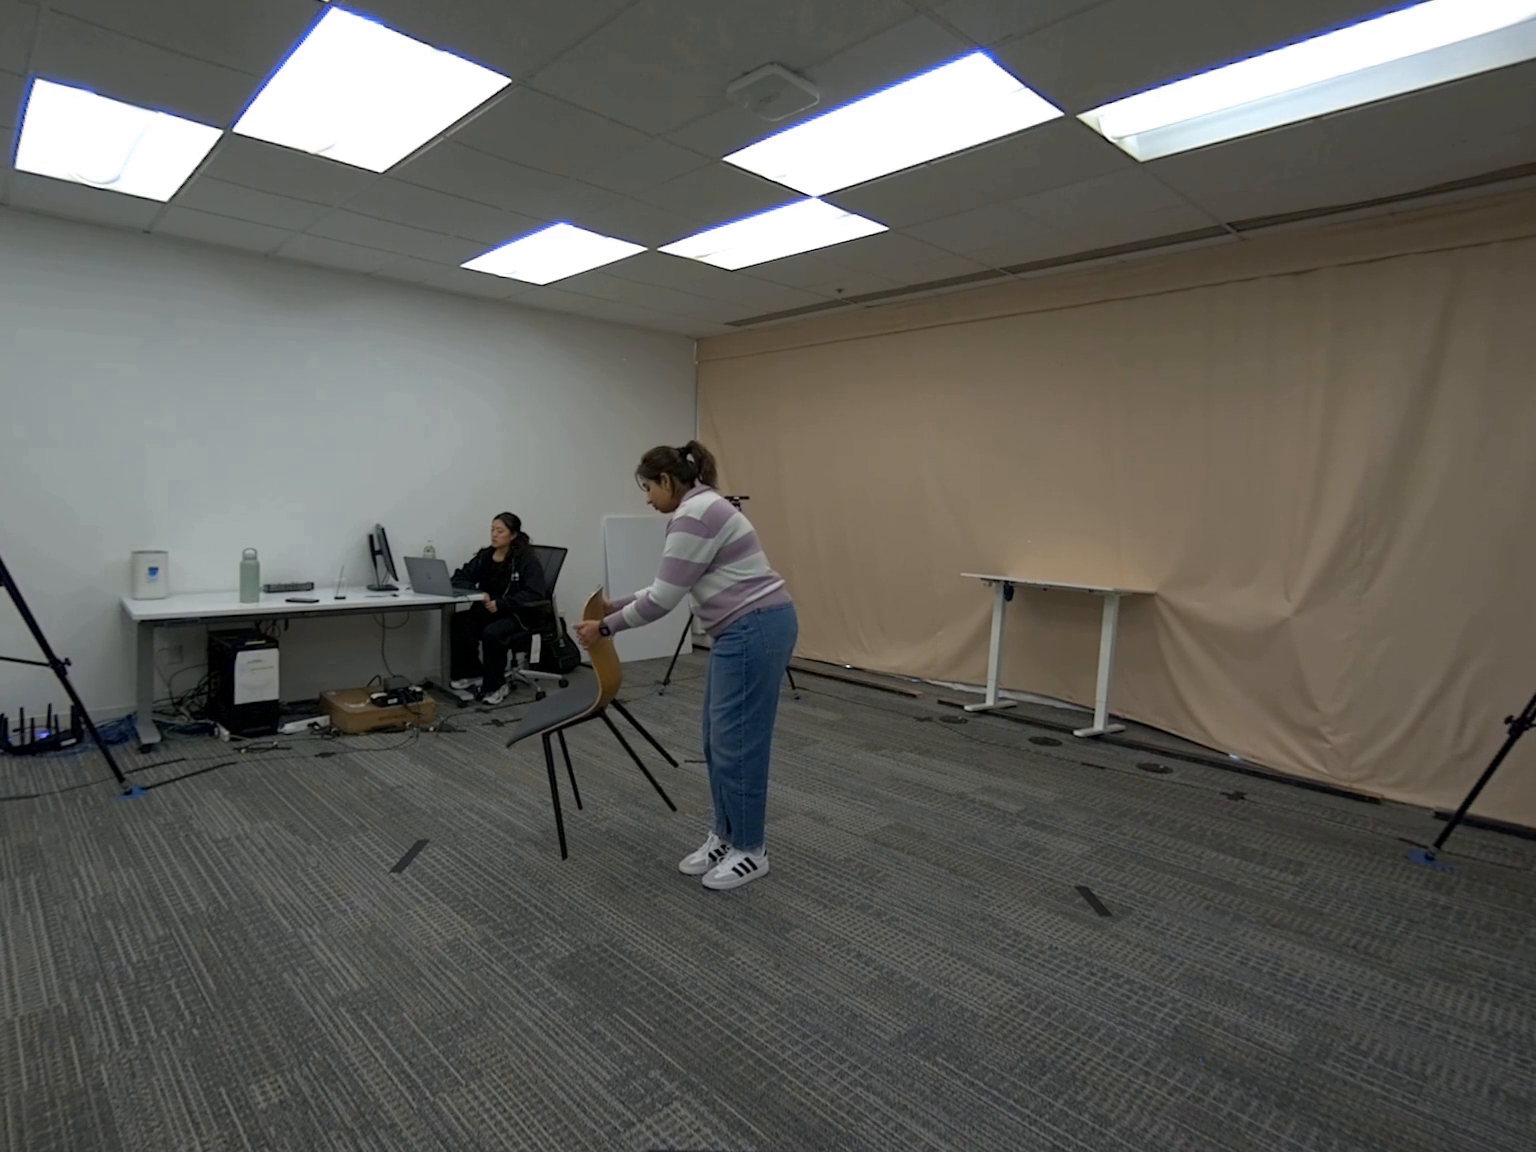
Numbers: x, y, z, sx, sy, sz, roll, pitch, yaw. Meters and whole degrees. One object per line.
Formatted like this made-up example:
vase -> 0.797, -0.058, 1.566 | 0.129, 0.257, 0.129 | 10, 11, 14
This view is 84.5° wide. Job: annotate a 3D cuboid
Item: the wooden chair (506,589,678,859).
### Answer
wooden chair -> -0.731, 0.535, 3.228 | 0.523, 0.872, 0.481 | -19, 7, -1
